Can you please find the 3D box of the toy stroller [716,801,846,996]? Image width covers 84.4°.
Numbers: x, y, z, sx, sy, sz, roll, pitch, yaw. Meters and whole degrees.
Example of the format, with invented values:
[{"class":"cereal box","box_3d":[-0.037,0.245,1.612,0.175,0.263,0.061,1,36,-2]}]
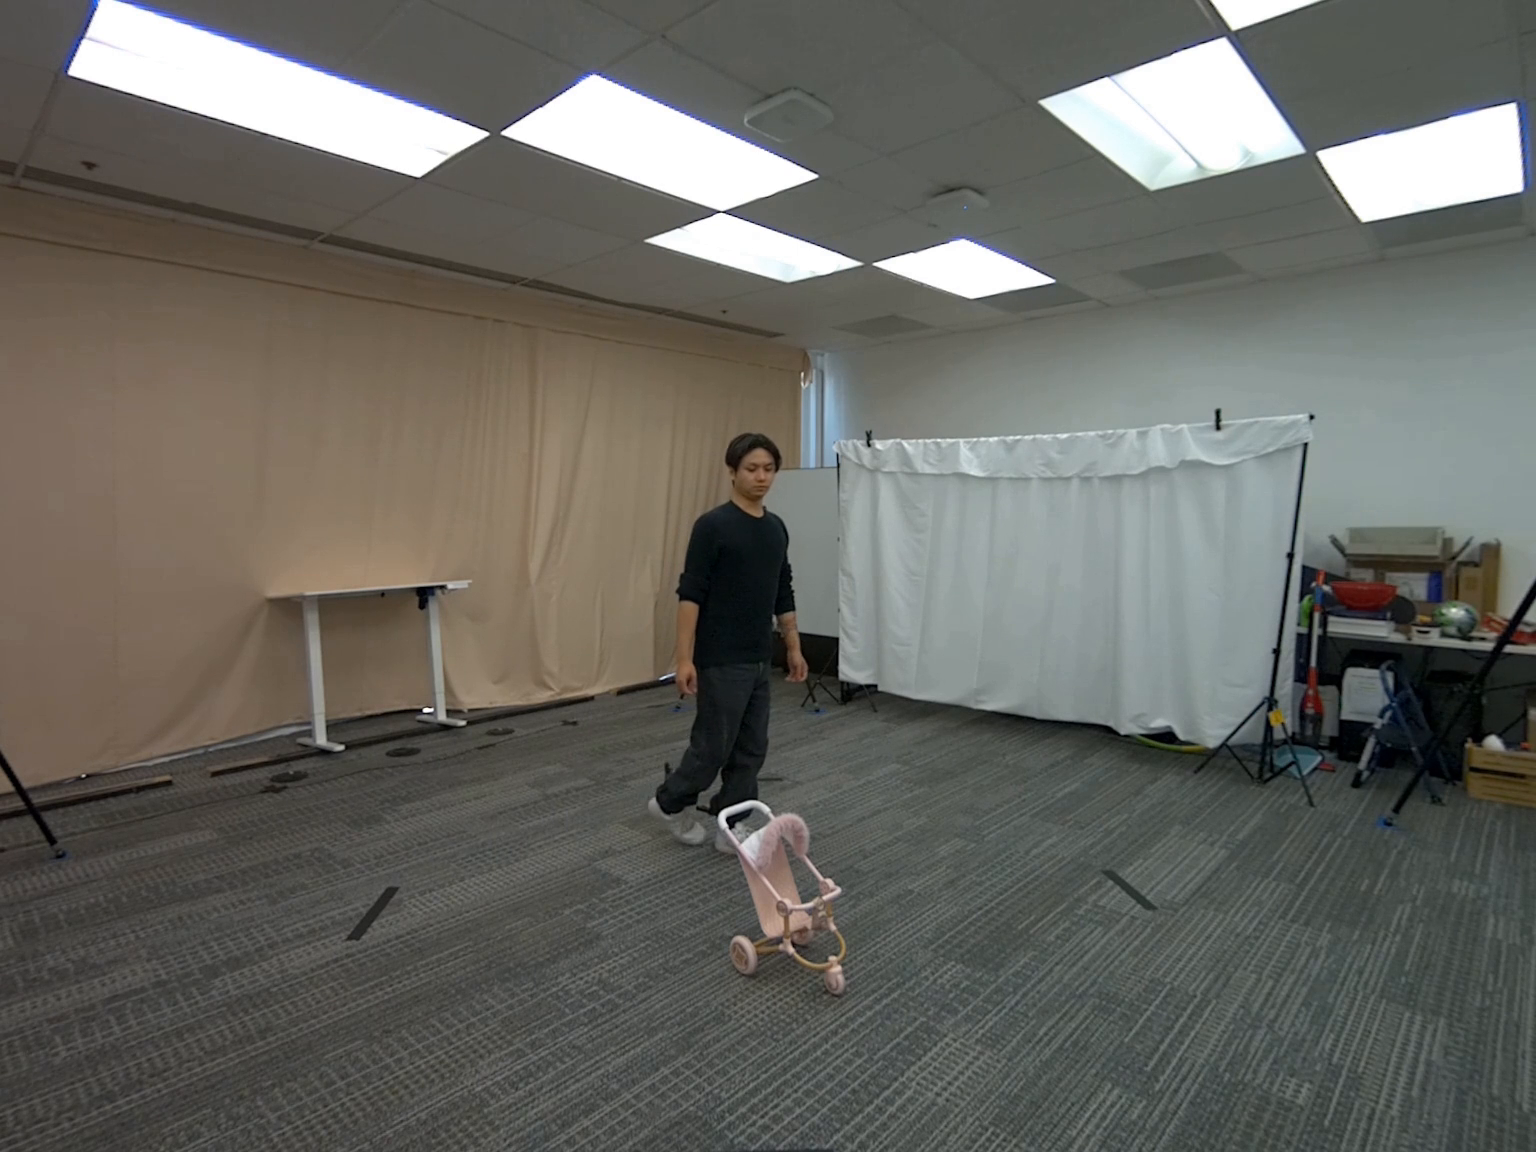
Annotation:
[{"class":"toy stroller","box_3d":[0.063,0.957,2.530,0.273,0.539,0.349,-3,-11,-39]}]
